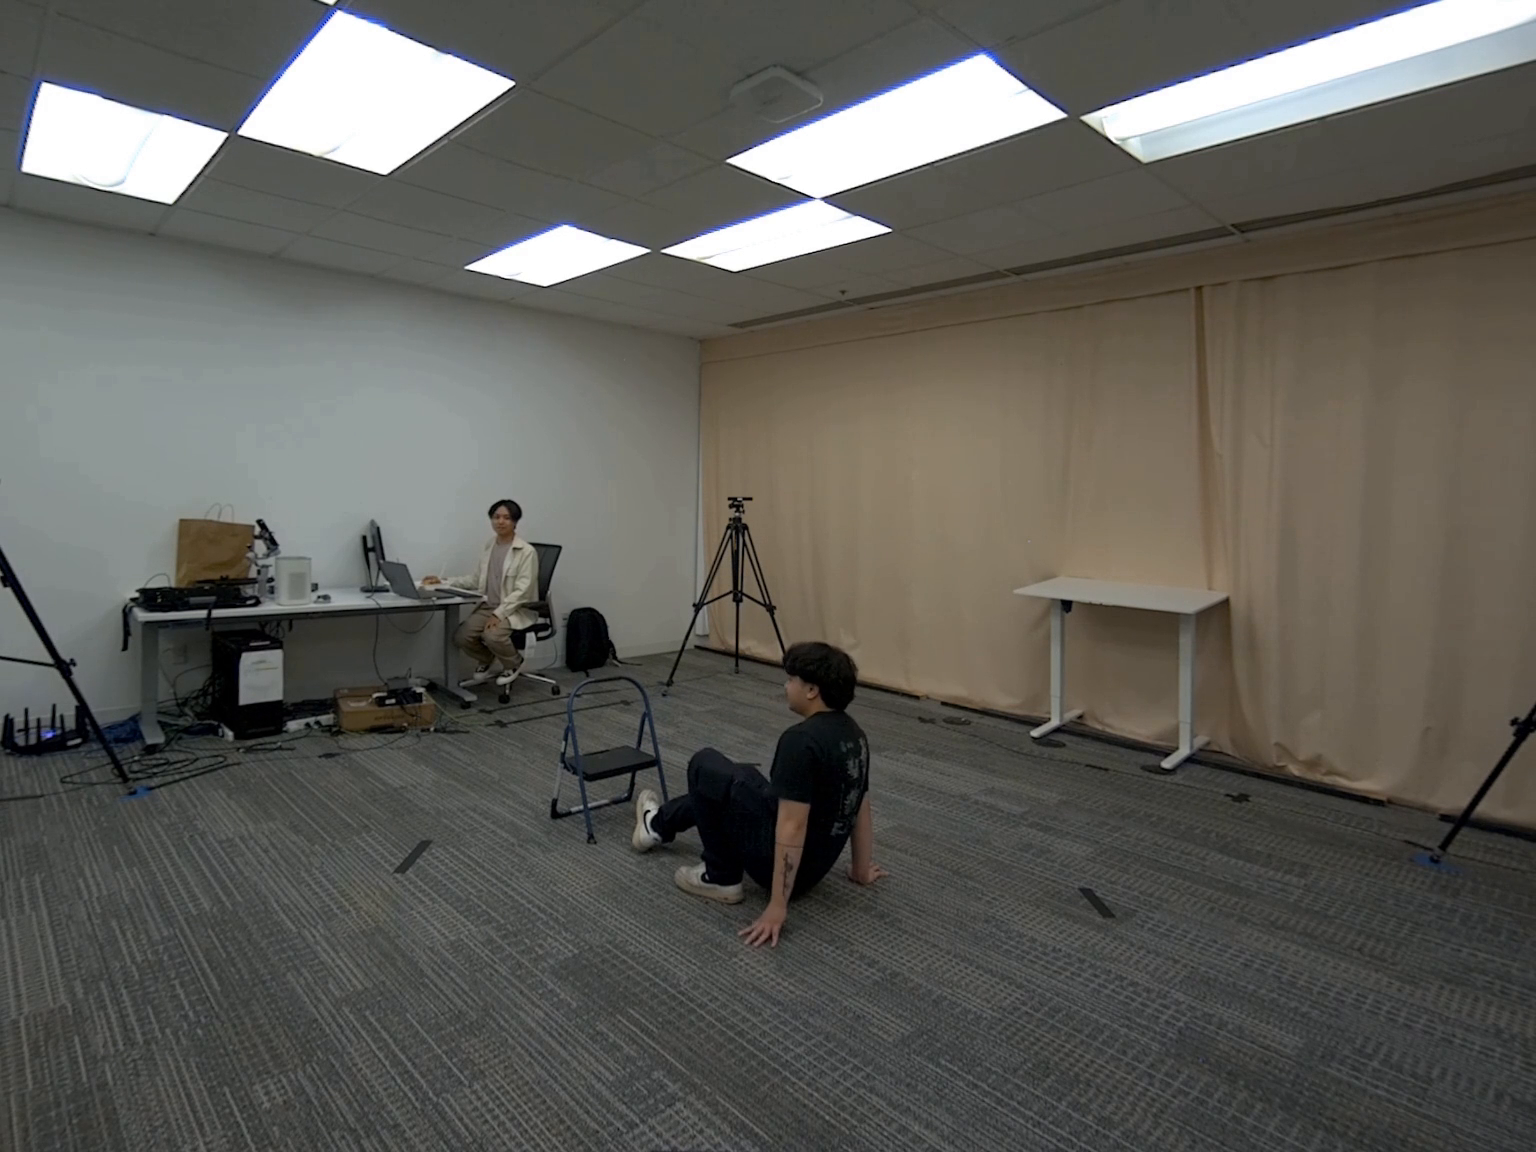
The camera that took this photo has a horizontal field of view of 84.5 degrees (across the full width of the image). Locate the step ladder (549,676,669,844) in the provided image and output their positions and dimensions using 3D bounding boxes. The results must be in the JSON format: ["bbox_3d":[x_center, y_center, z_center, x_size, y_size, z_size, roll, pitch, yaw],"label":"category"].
[{"bbox_3d":[-0.674,0.749,3.615,0.420,0.605,0.358,-1,4,-43],"label":"step ladder"}]
